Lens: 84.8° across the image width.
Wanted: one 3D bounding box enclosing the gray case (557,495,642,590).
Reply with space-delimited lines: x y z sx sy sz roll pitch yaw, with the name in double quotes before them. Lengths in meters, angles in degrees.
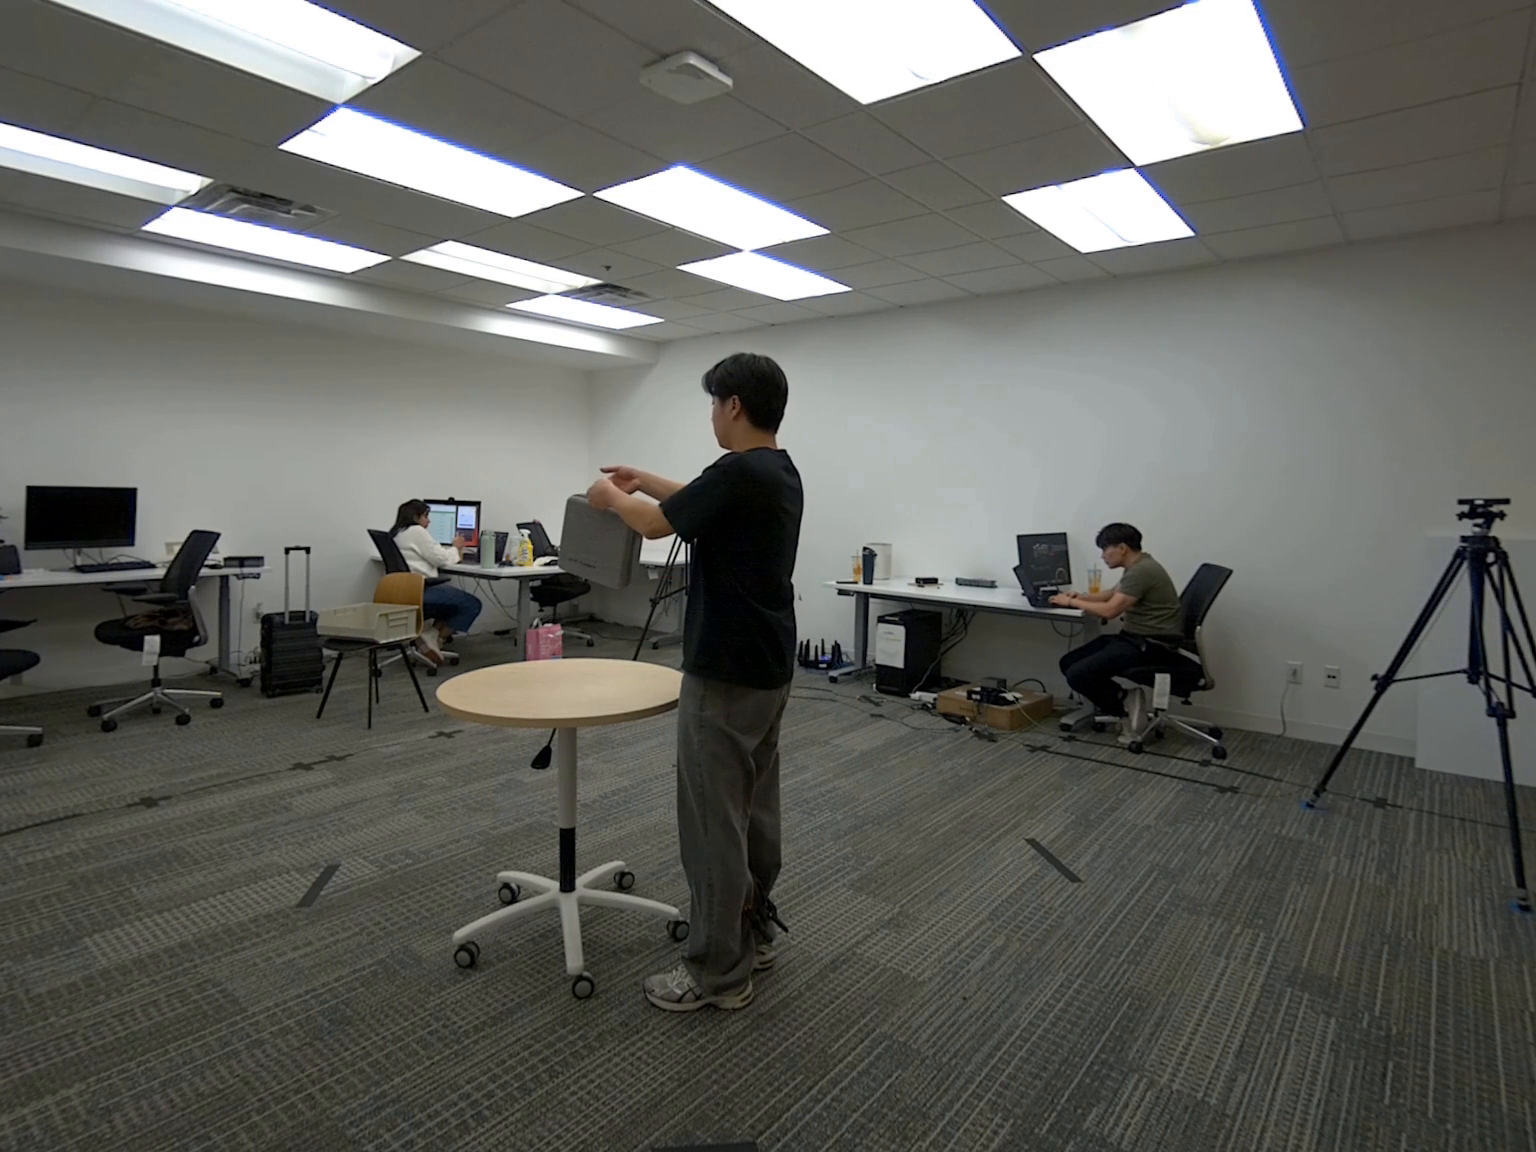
"gray case" -0.531 -0.122 2.649 0.270 0.284 0.101 18 16 21
